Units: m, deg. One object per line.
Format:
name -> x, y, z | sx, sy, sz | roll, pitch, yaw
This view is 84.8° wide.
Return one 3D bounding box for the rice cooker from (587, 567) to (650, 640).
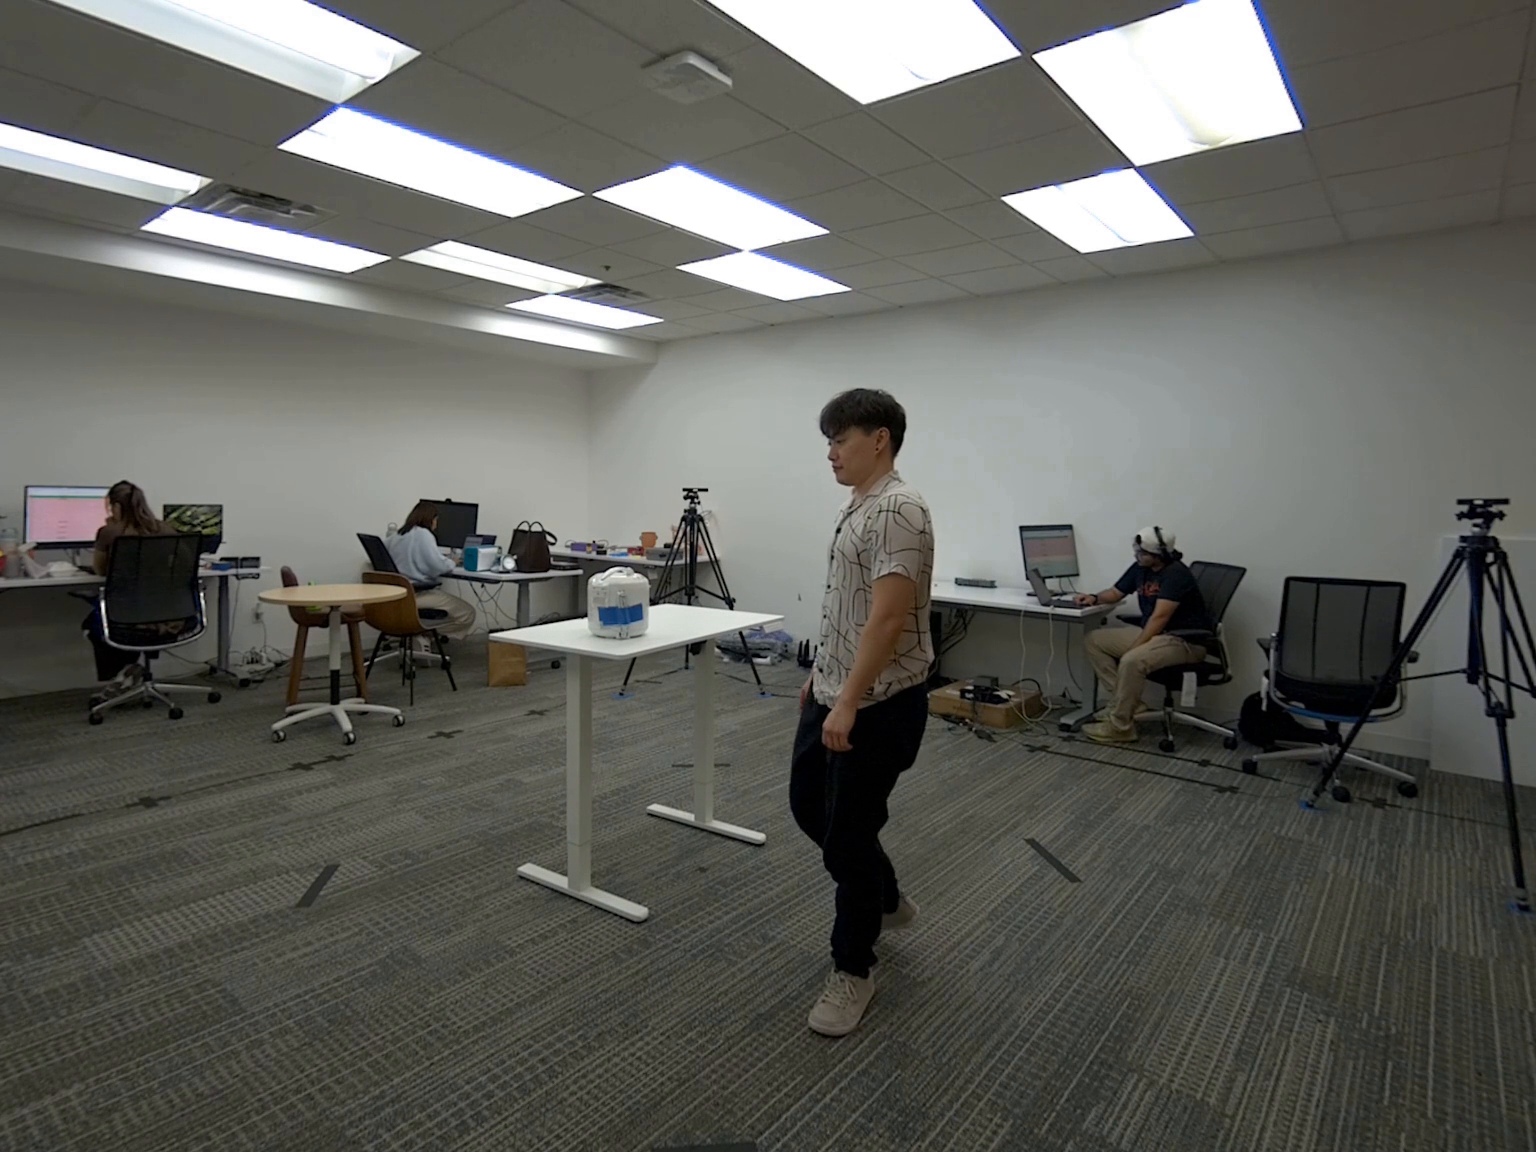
rice cooker -> -0.528, 0.083, 2.923 | 0.224, 0.232, 0.215 | 5, 5, 28
